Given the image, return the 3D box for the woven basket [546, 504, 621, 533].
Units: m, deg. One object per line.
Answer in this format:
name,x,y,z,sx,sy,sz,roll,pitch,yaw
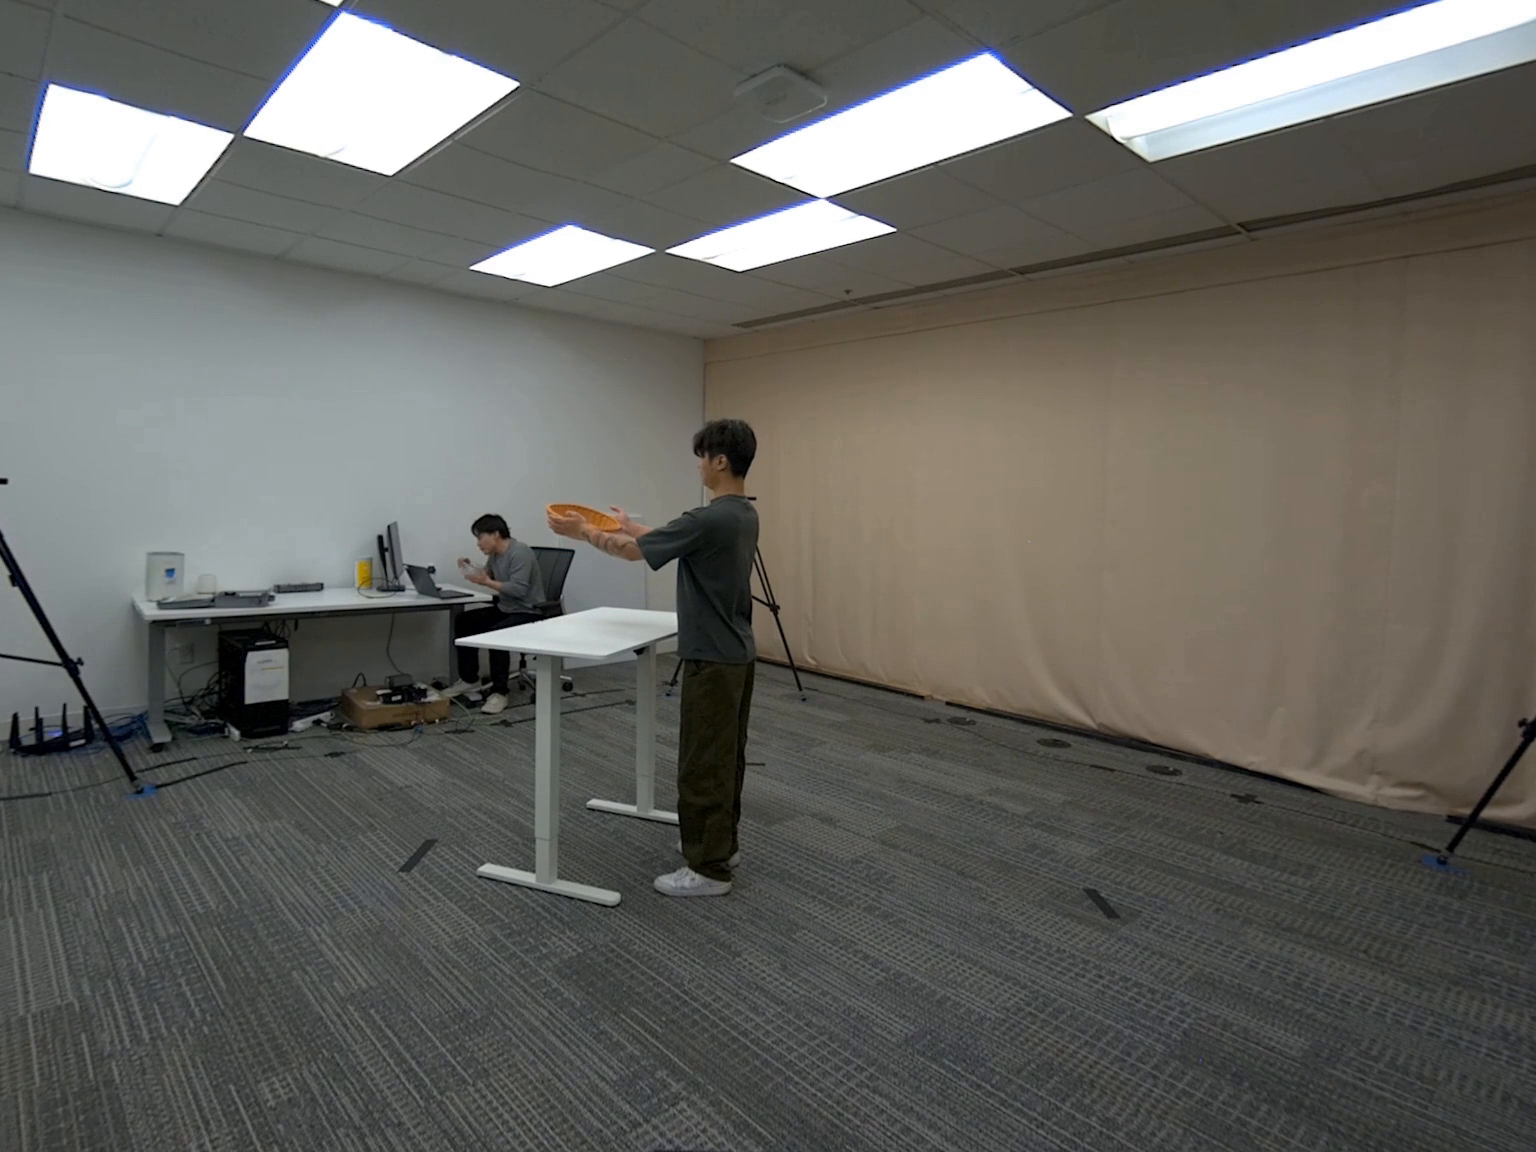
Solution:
woven basket,-0.704,-0.196,3.255,0.260,0.073,0.342,30,16,34
